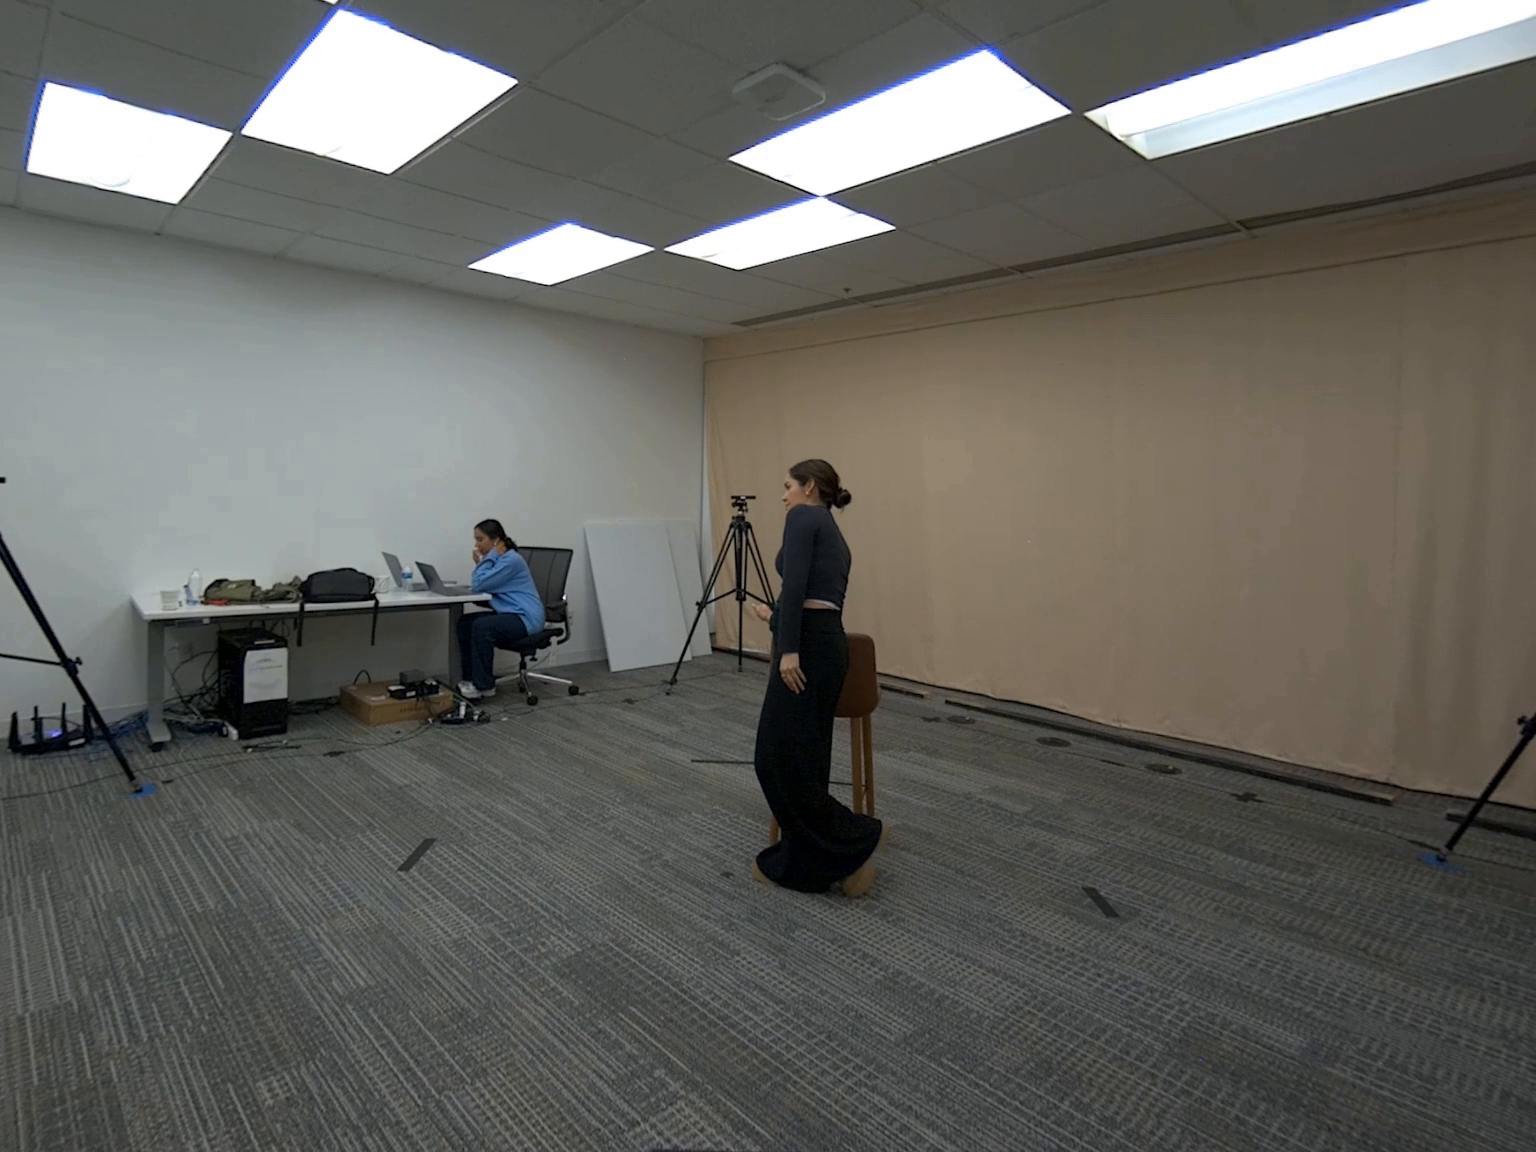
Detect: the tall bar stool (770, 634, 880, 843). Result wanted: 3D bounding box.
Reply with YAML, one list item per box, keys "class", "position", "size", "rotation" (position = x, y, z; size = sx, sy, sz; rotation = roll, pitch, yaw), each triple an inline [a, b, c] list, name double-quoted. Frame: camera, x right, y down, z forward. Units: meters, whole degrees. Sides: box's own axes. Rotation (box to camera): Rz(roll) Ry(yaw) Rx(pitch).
- class: "tall bar stool"
  position: [0.238, 0.640, 3.541]
  size: [0.461, 0.887, 0.464]
  rotation: [2, 5, 13]
